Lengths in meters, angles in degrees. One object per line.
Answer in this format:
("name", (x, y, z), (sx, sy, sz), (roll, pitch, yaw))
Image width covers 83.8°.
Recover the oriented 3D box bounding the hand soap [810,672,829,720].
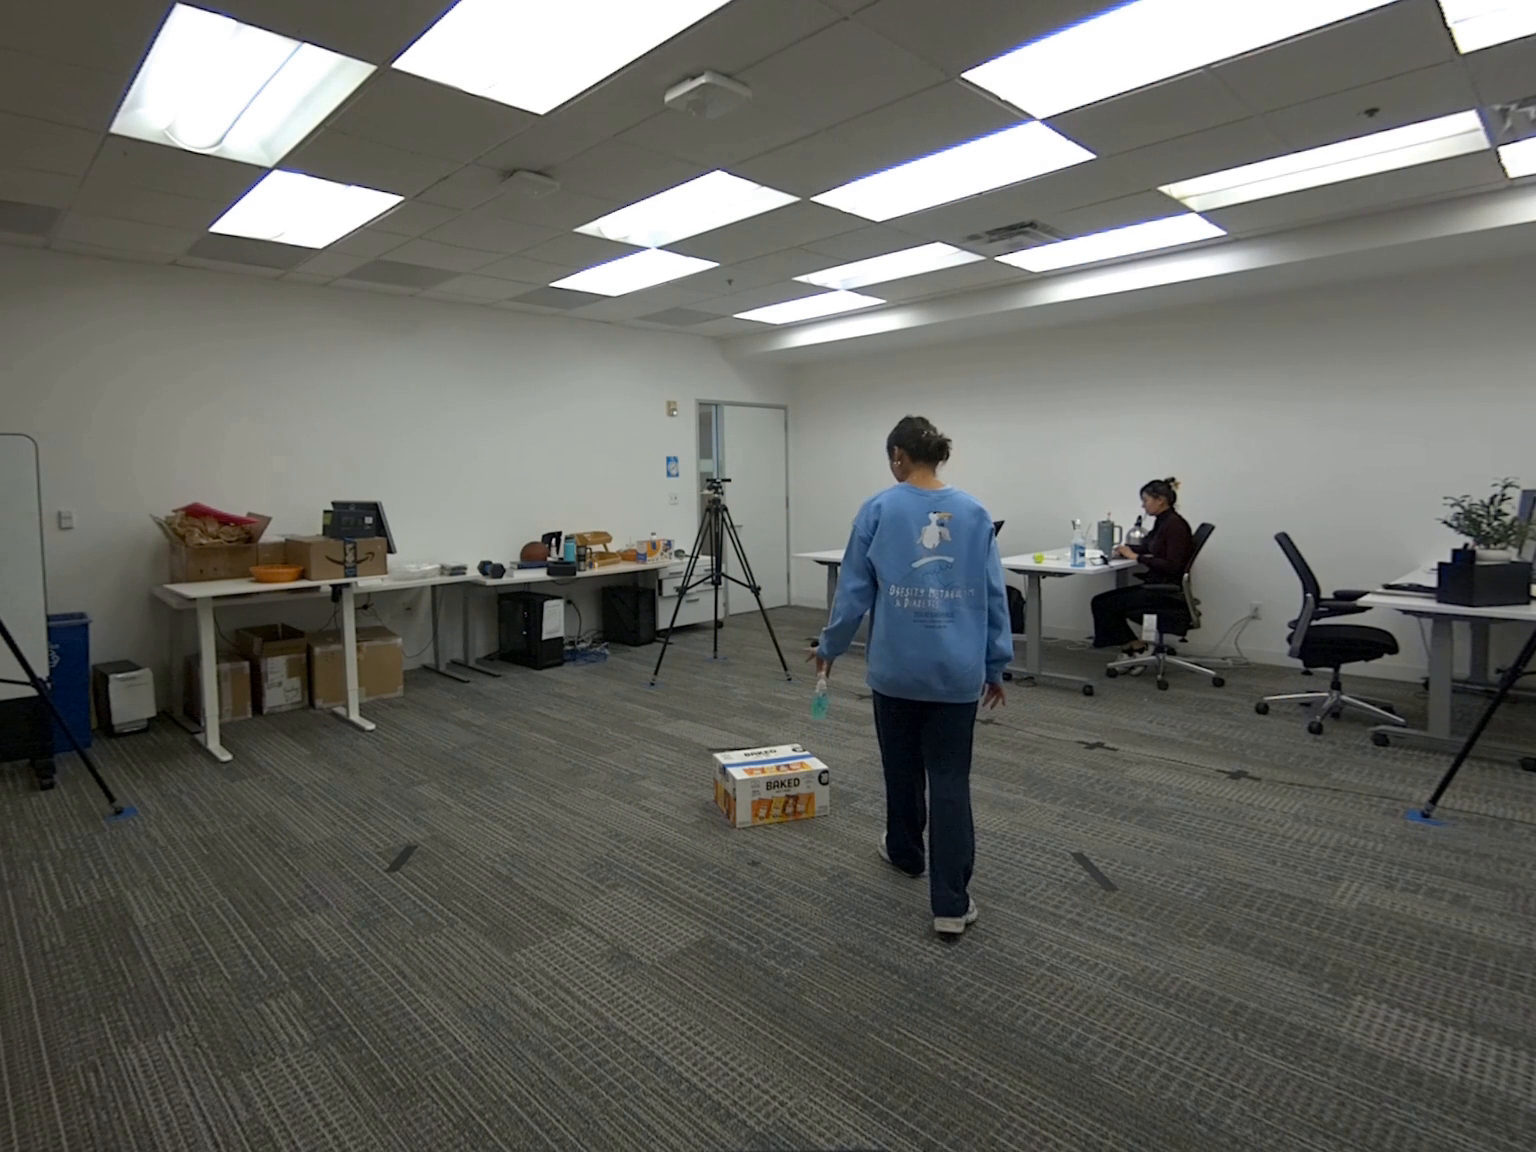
("hand soap", (0.186, 0.412, 3.055), (0.045, 0.167, 0.082), (13, 12, 36))
